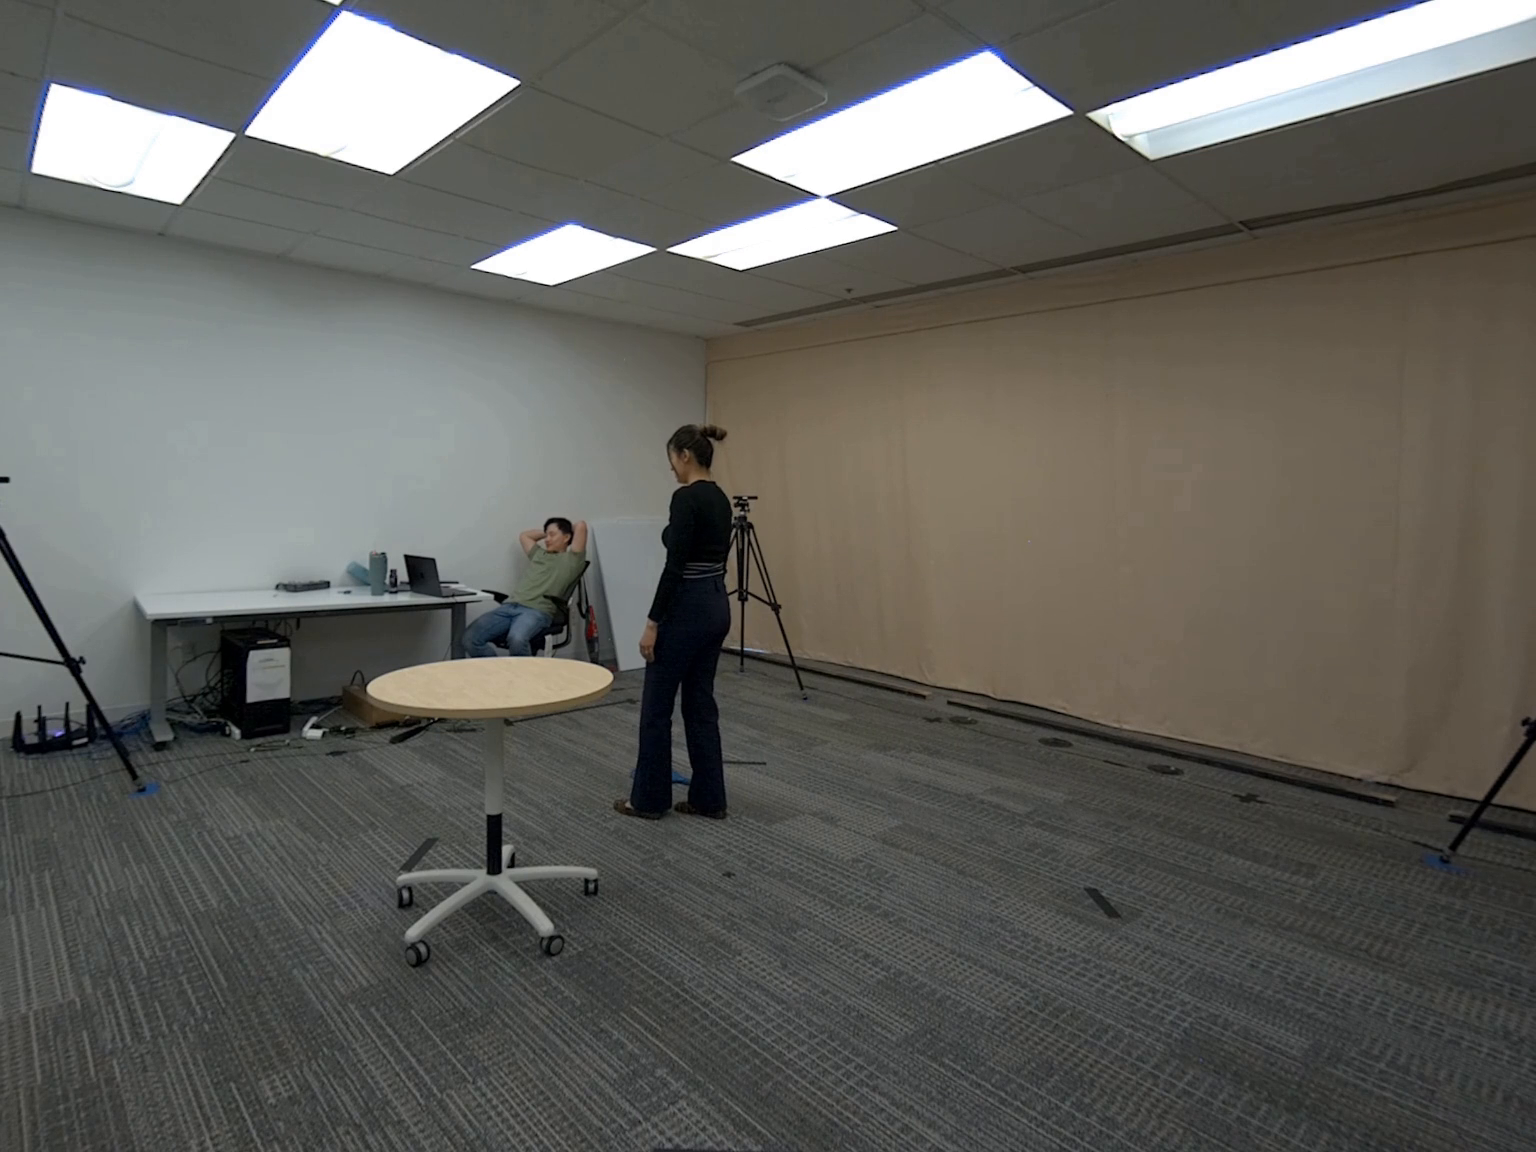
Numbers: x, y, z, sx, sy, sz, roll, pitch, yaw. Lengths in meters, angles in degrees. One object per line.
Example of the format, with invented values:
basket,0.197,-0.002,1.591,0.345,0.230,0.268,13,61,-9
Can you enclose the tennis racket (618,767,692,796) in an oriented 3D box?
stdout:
tennis racket,-0.496,0.993,4.147,0.442,0.032,0.209,3,4,31
